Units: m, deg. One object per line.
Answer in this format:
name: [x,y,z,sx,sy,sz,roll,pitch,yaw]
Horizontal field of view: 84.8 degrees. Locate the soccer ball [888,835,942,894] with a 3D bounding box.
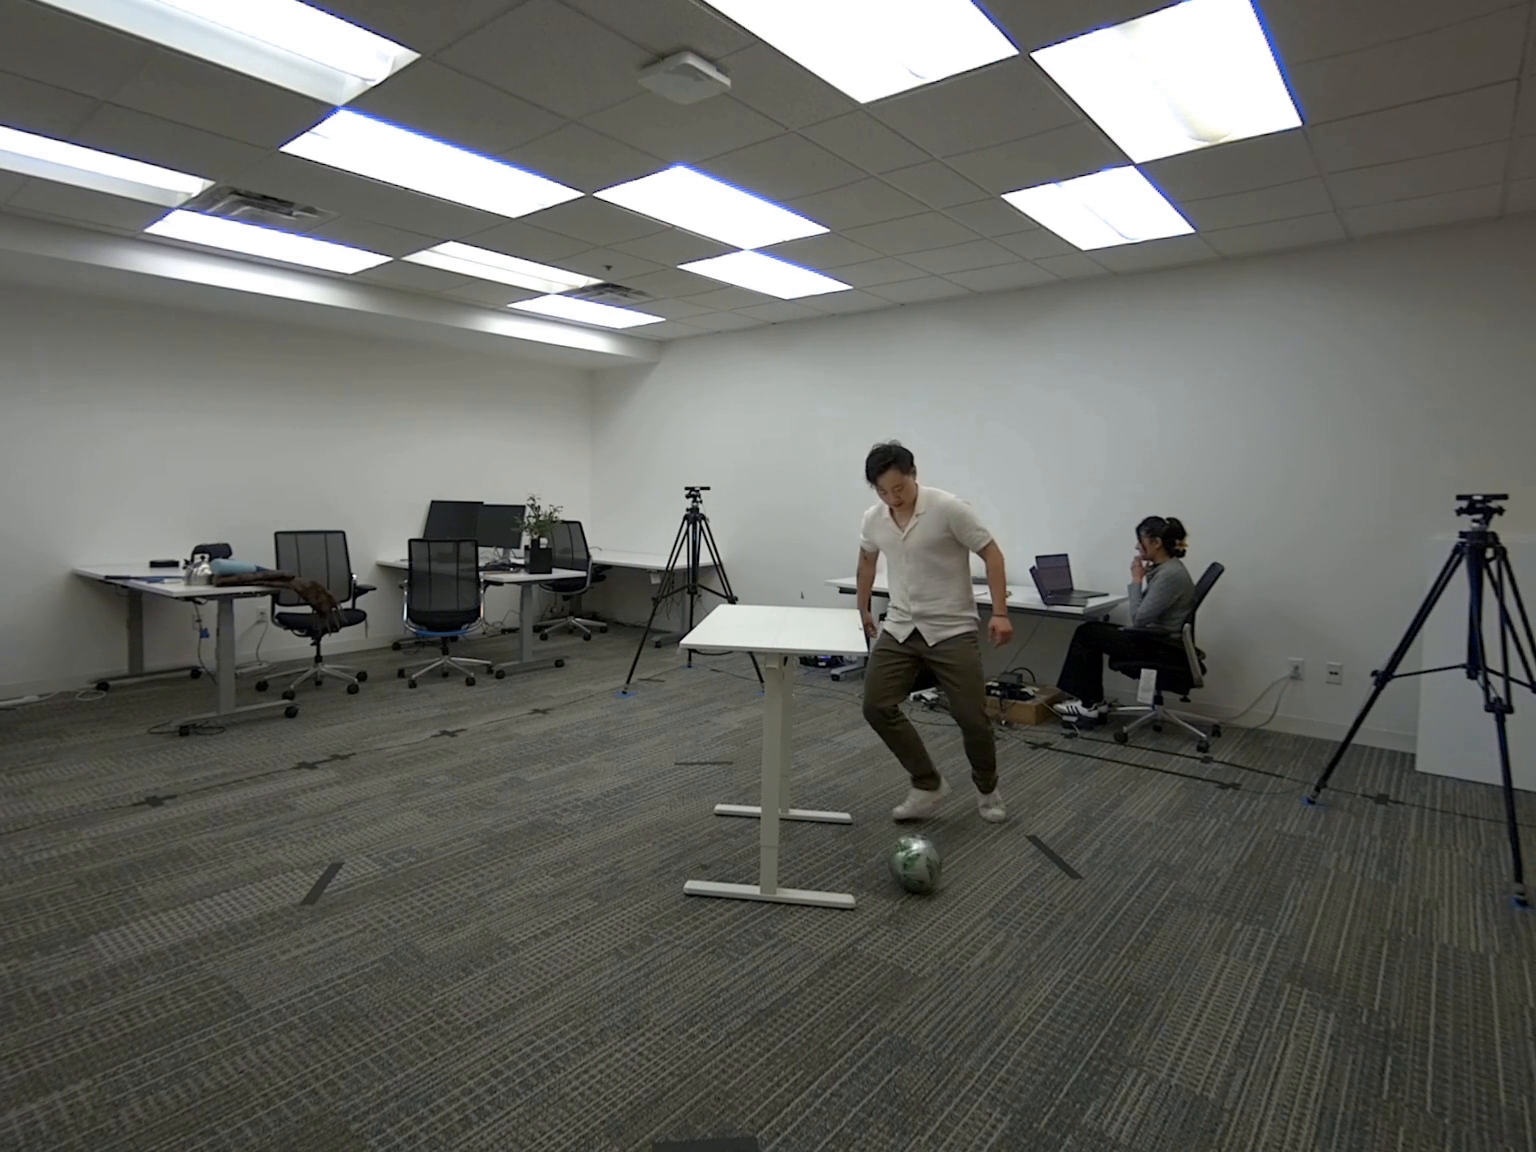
soccer ball: [0.511,0.999,2.977,0.187,0.187,0.188,1,4,-2]
